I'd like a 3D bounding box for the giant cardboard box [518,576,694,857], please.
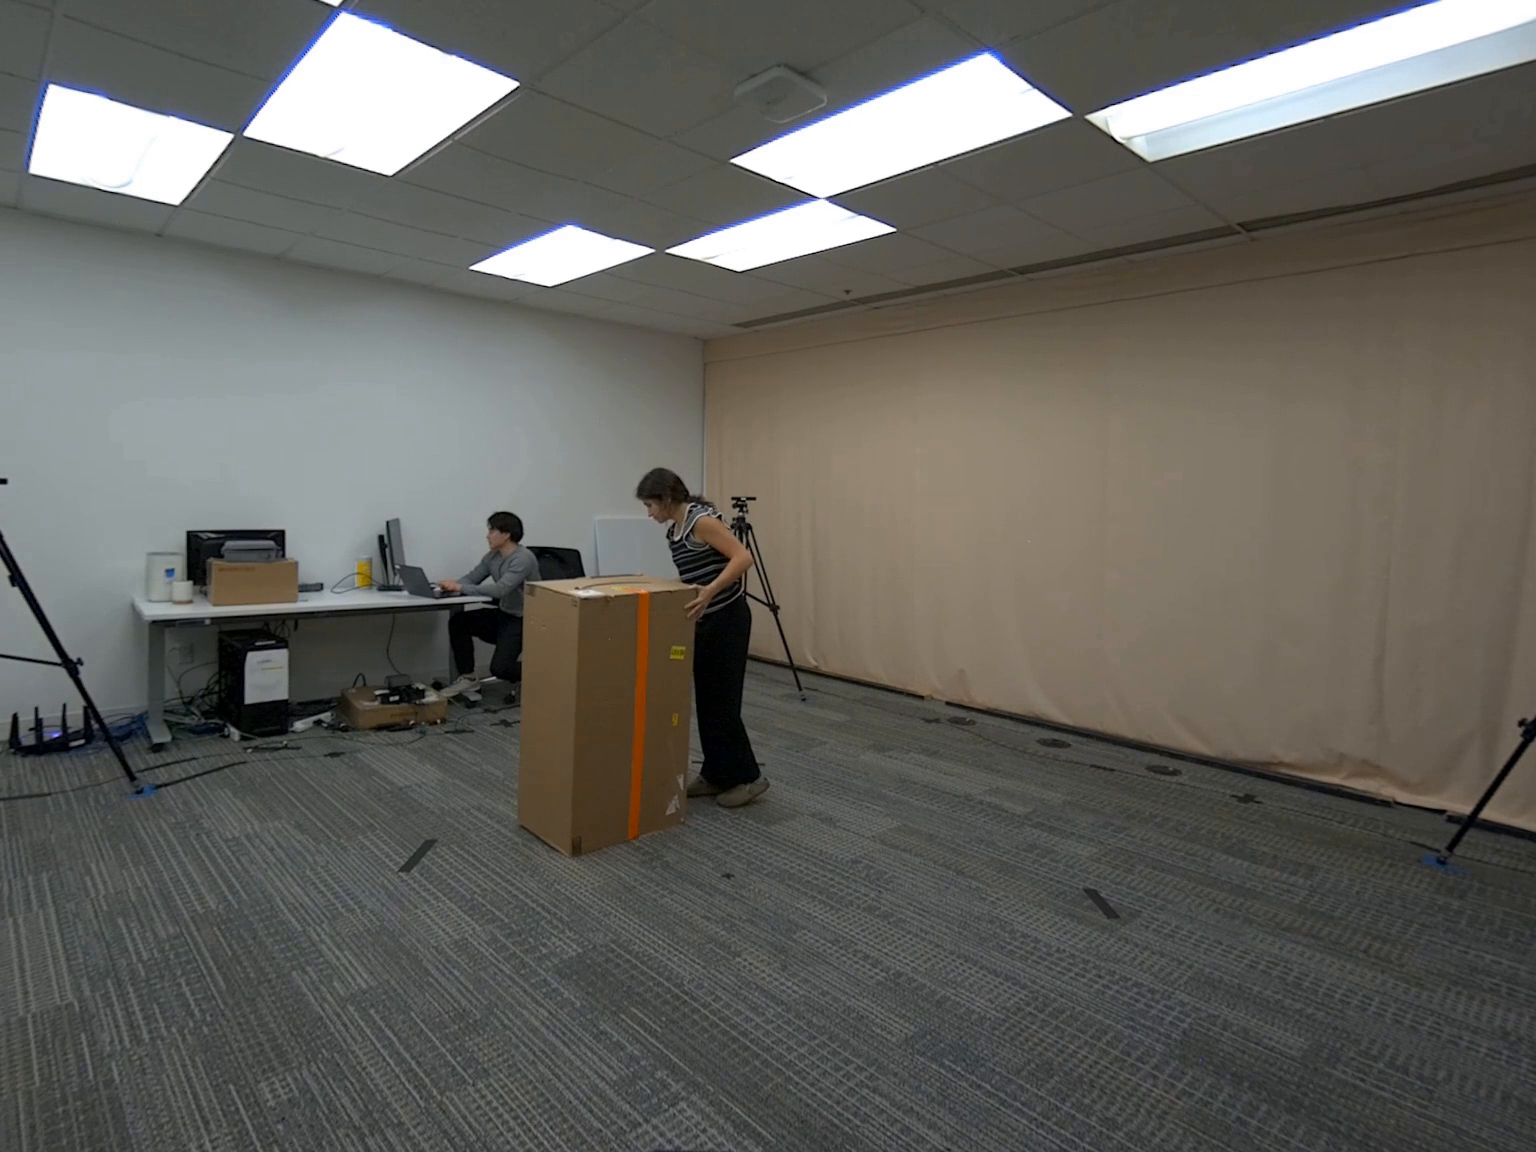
[{"bbox_3d":[-0.684,0.548,3.519,0.564,1.022,0.438,-2,8,-44],"label":"giant cardboard box"}]
